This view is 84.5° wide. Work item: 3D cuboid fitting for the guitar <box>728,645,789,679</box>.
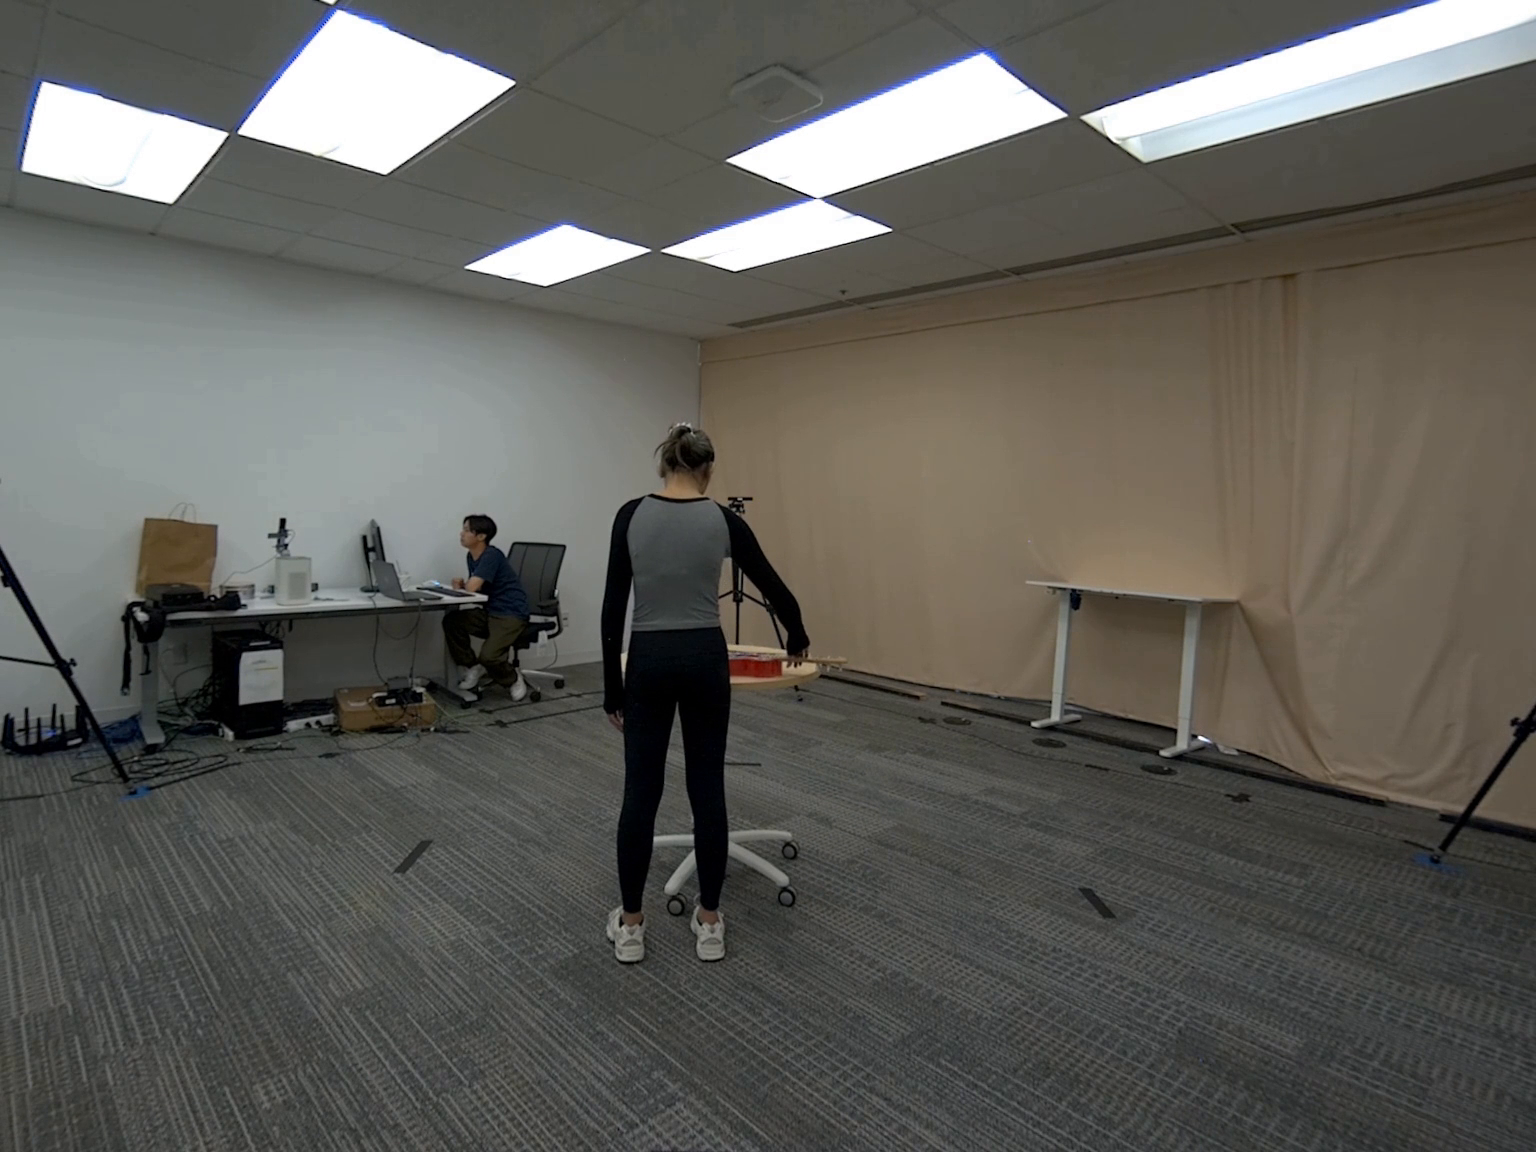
[{"bbox_3d":[0.004,0.306,2.843,0.506,0.070,0.190,2,5,20],"label":"guitar"}]
